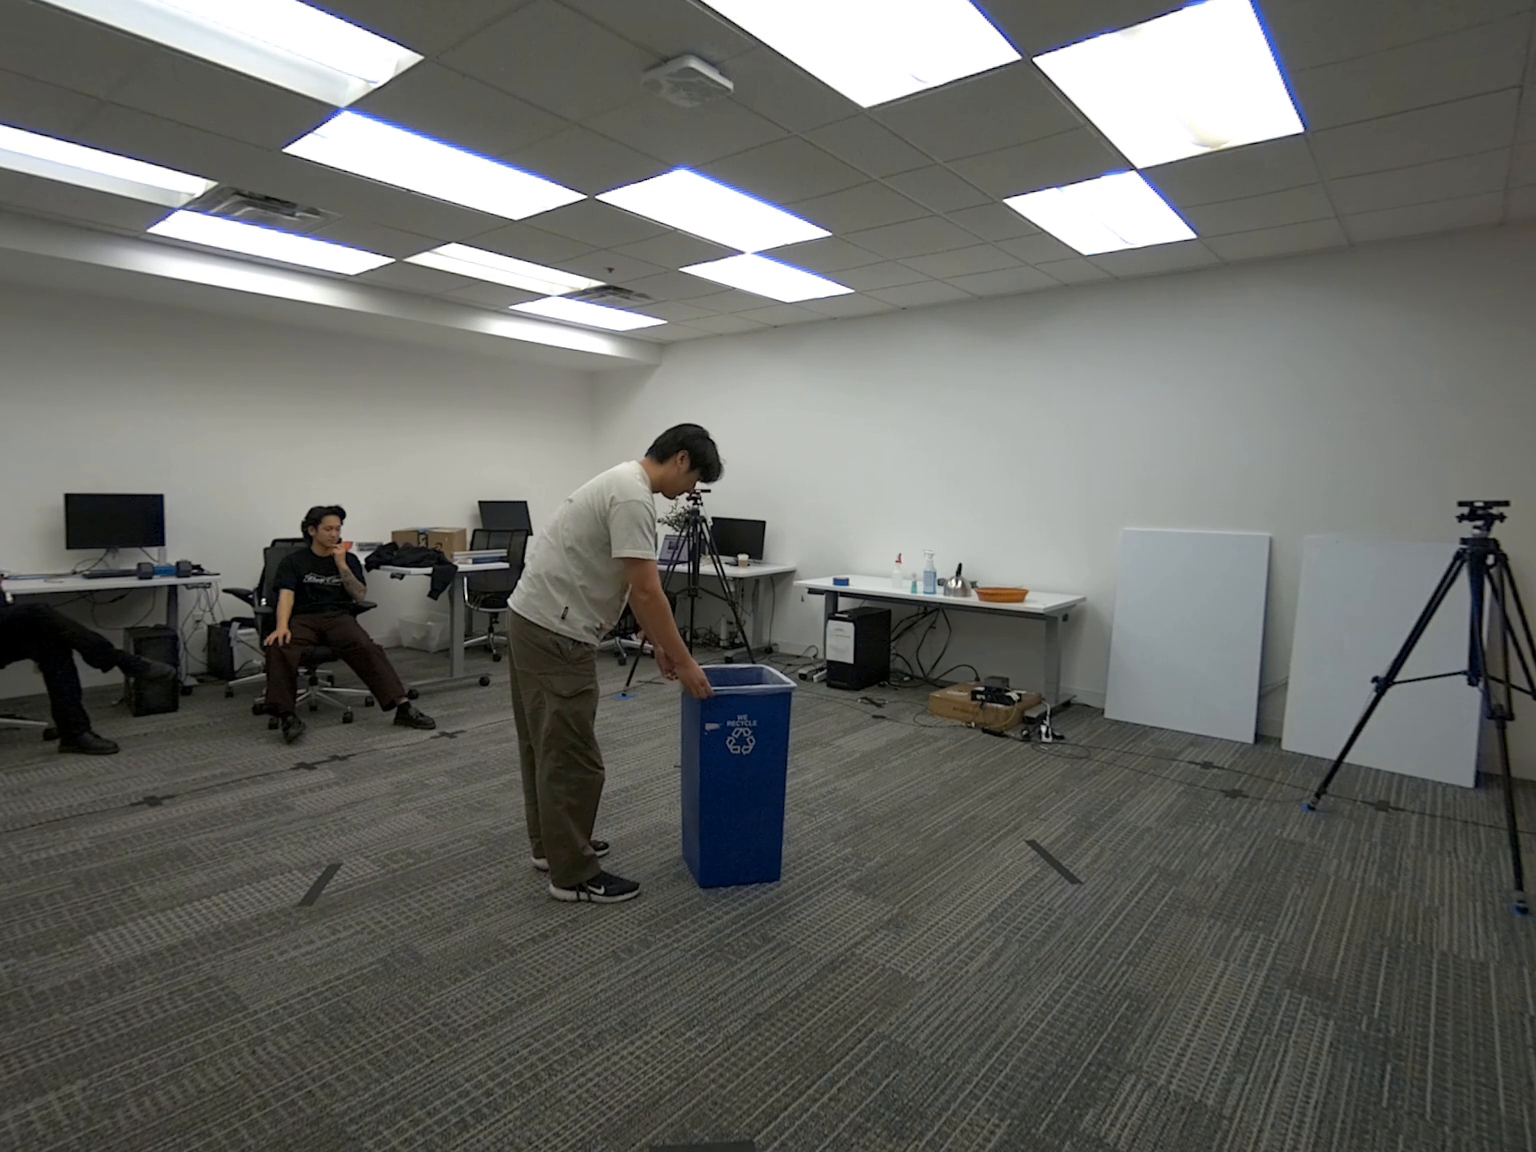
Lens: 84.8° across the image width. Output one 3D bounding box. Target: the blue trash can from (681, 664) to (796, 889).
[{"bbox_3d":[-0.138,0.719,3.122,0.368,0.711,0.386,0,4,-17],"label":"blue trash can"}]
